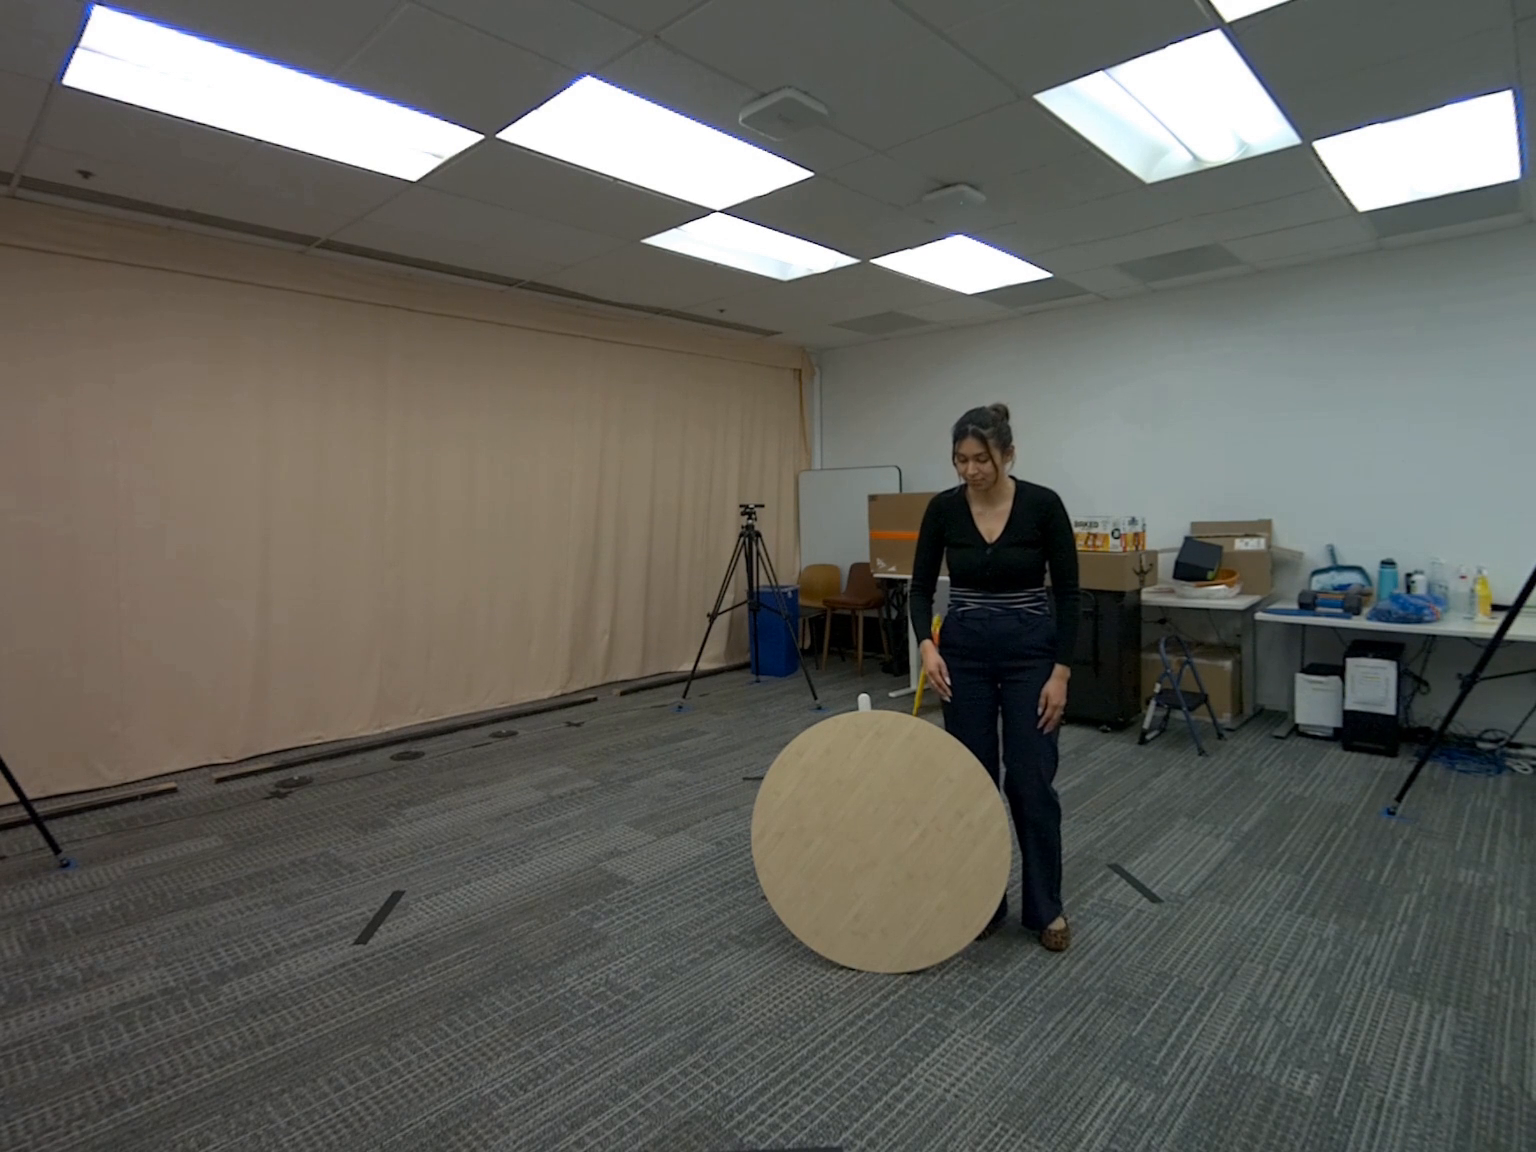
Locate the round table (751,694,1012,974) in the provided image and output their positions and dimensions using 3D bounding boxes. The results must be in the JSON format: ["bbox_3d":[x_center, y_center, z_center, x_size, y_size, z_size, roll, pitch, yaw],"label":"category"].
[{"bbox_3d":[0.370,0.804,2.906,0.770,0.765,0.786,0,-2,7],"label":"round table"}]
